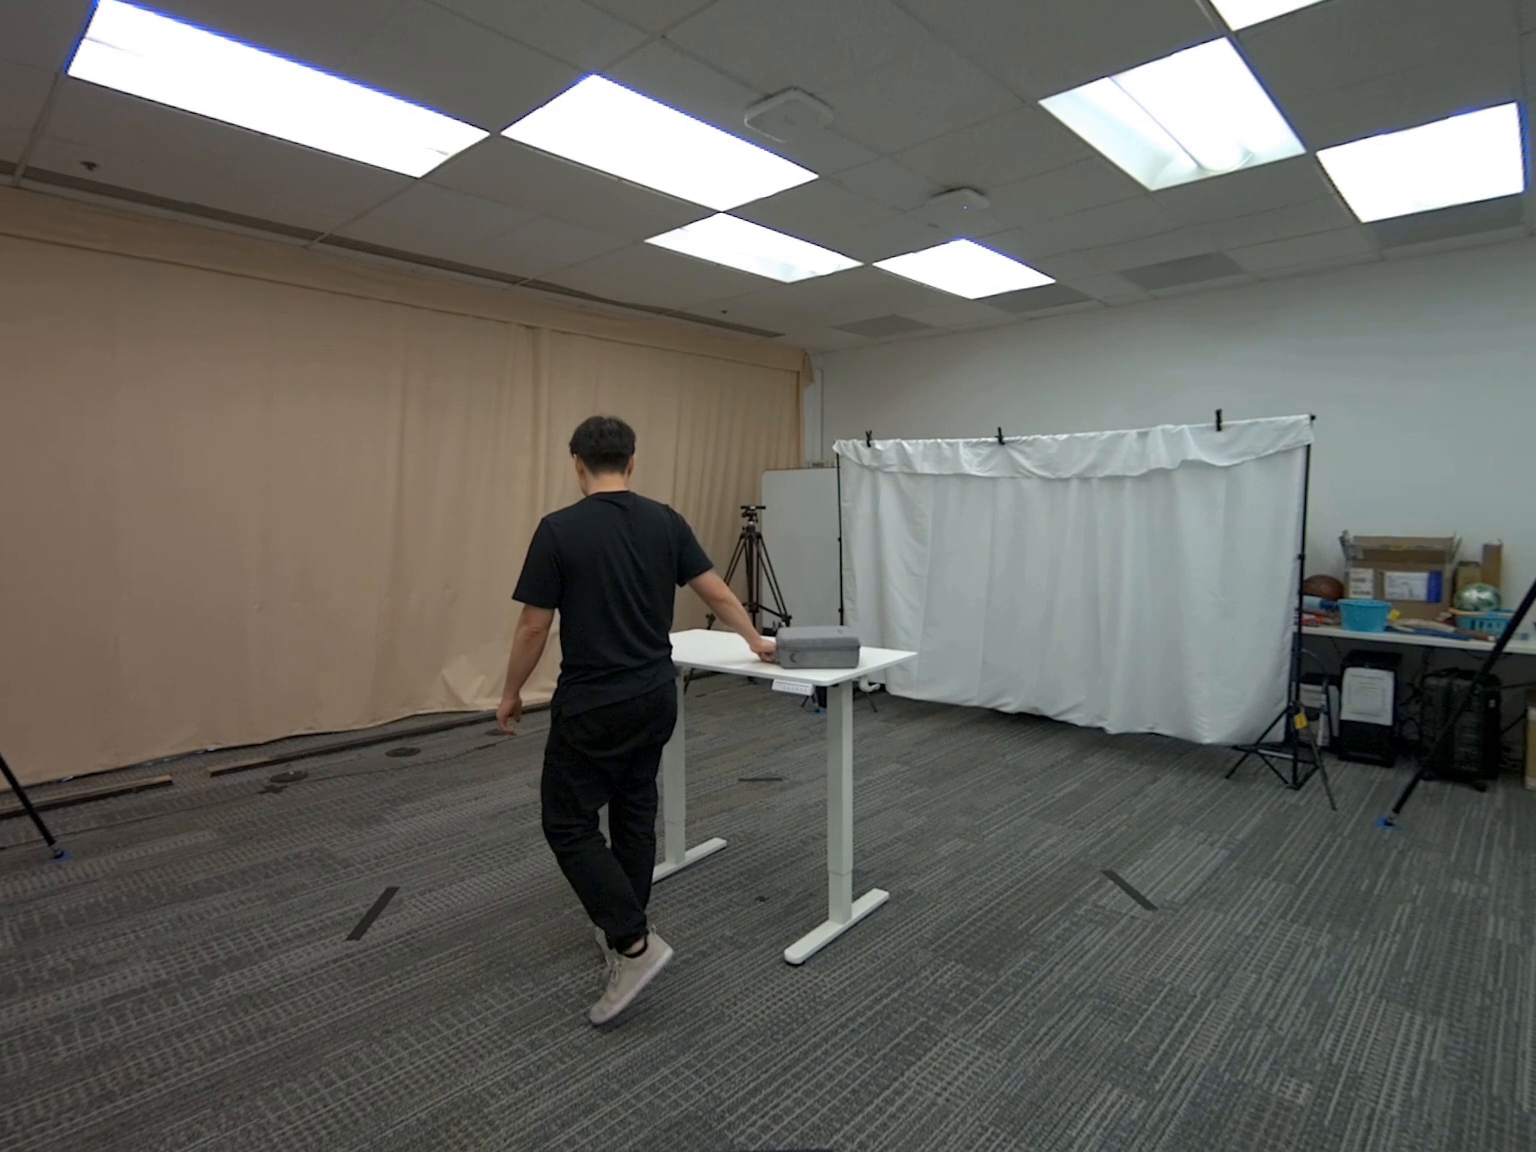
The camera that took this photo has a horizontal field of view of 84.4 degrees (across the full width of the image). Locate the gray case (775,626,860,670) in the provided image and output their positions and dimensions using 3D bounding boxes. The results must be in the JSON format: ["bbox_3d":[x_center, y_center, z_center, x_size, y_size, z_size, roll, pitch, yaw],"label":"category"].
[{"bbox_3d":[0.163,0.230,2.711,0.261,0.104,0.258,-2,6,0],"label":"gray case"}]
